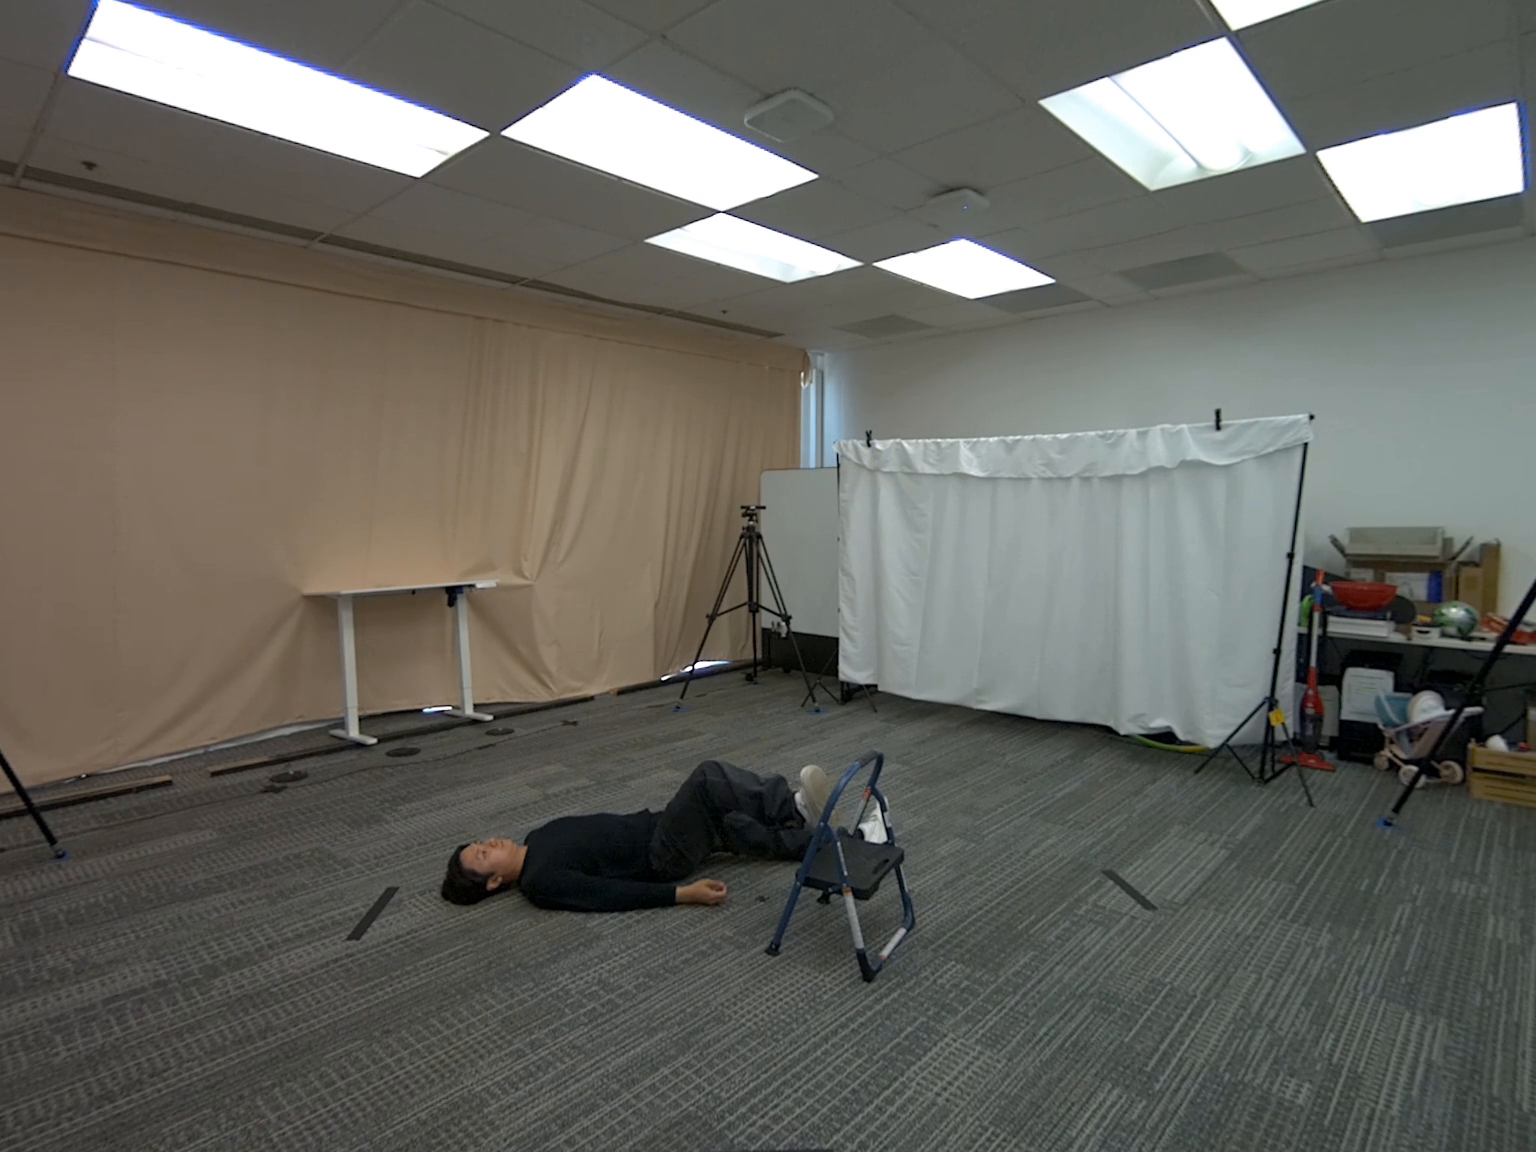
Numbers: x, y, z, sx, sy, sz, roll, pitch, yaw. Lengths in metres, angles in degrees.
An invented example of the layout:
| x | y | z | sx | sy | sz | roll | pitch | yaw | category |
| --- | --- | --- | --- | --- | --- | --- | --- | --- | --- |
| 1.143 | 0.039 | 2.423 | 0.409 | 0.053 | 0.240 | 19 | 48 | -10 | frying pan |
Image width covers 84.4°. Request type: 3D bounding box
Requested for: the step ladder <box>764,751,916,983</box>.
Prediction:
| x | y | z | sx | sy | sz | roll | pitch | yaw | category |
| --- | --- | --- | --- | --- | --- | --- | --- | --- | --- |
| 0.246 | 0.864 | 2.694 | 0.359 | 0.605 | 0.419 | 2 | 4 | 29 | step ladder |
